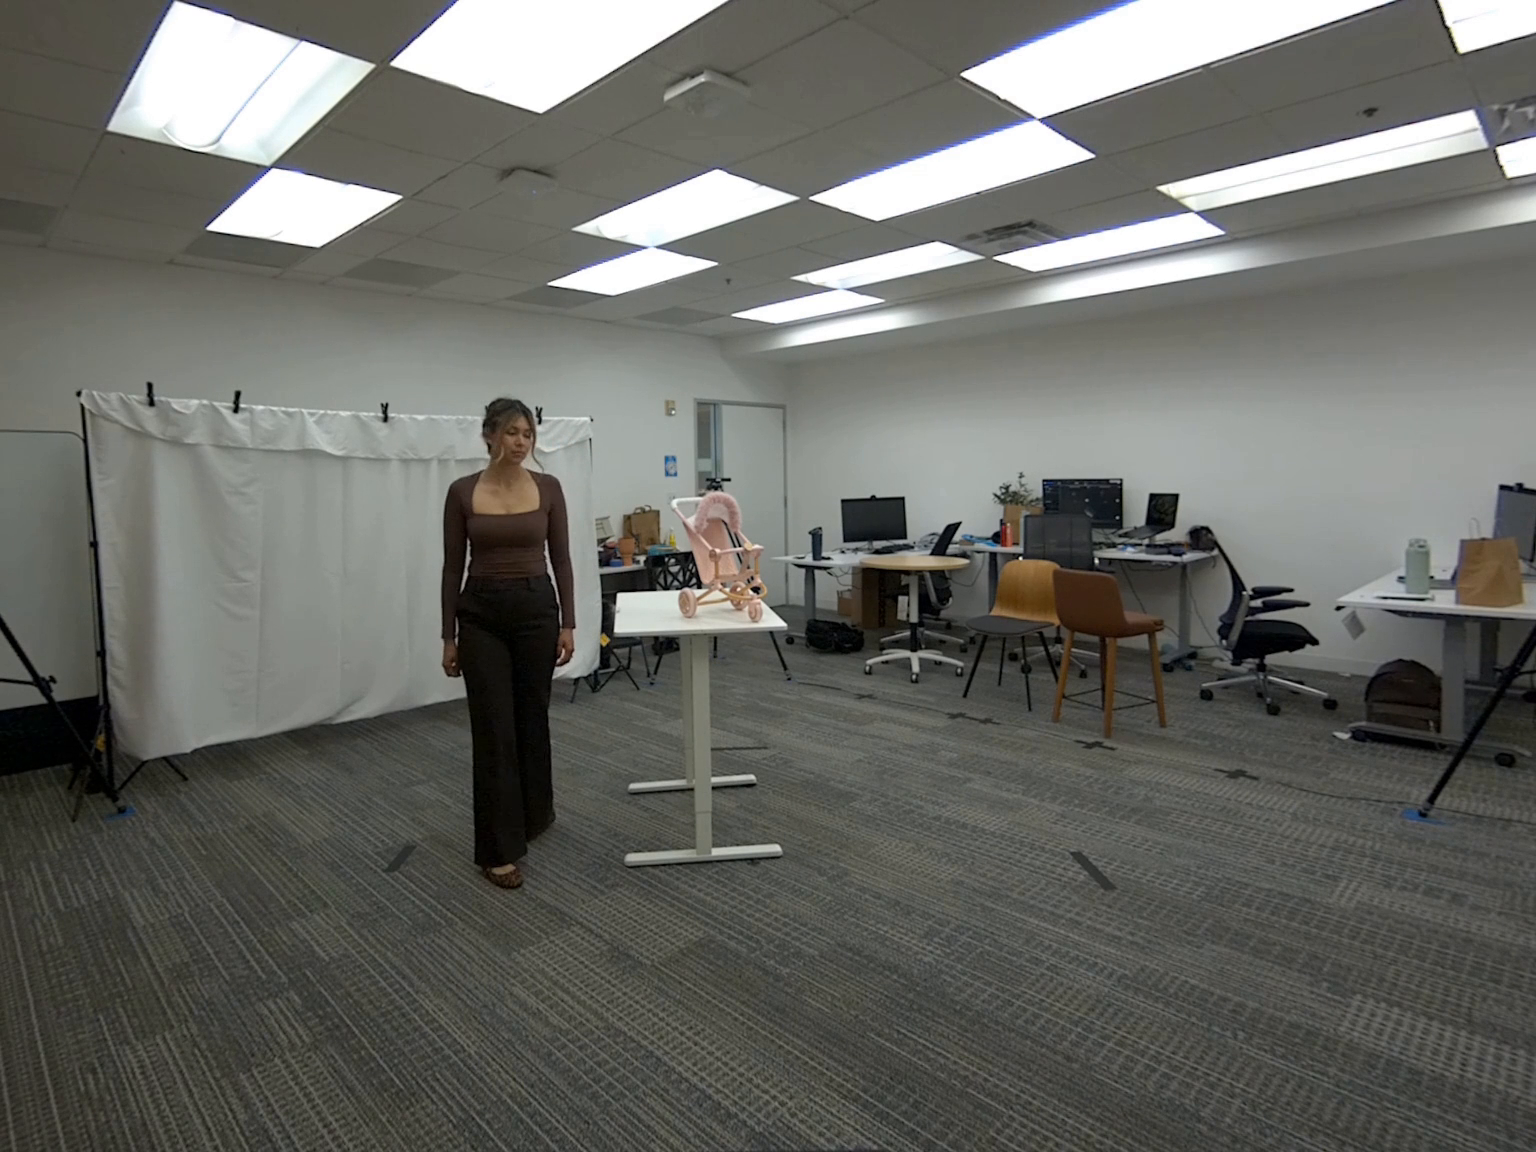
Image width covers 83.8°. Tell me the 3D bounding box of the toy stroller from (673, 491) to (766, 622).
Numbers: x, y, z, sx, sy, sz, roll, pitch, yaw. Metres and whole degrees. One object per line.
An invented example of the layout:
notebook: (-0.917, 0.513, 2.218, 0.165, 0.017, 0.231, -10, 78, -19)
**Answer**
toy stroller: (-0.170, -0.076, 3.201, 0.274, 0.540, 0.347, -5, -9, -35)
